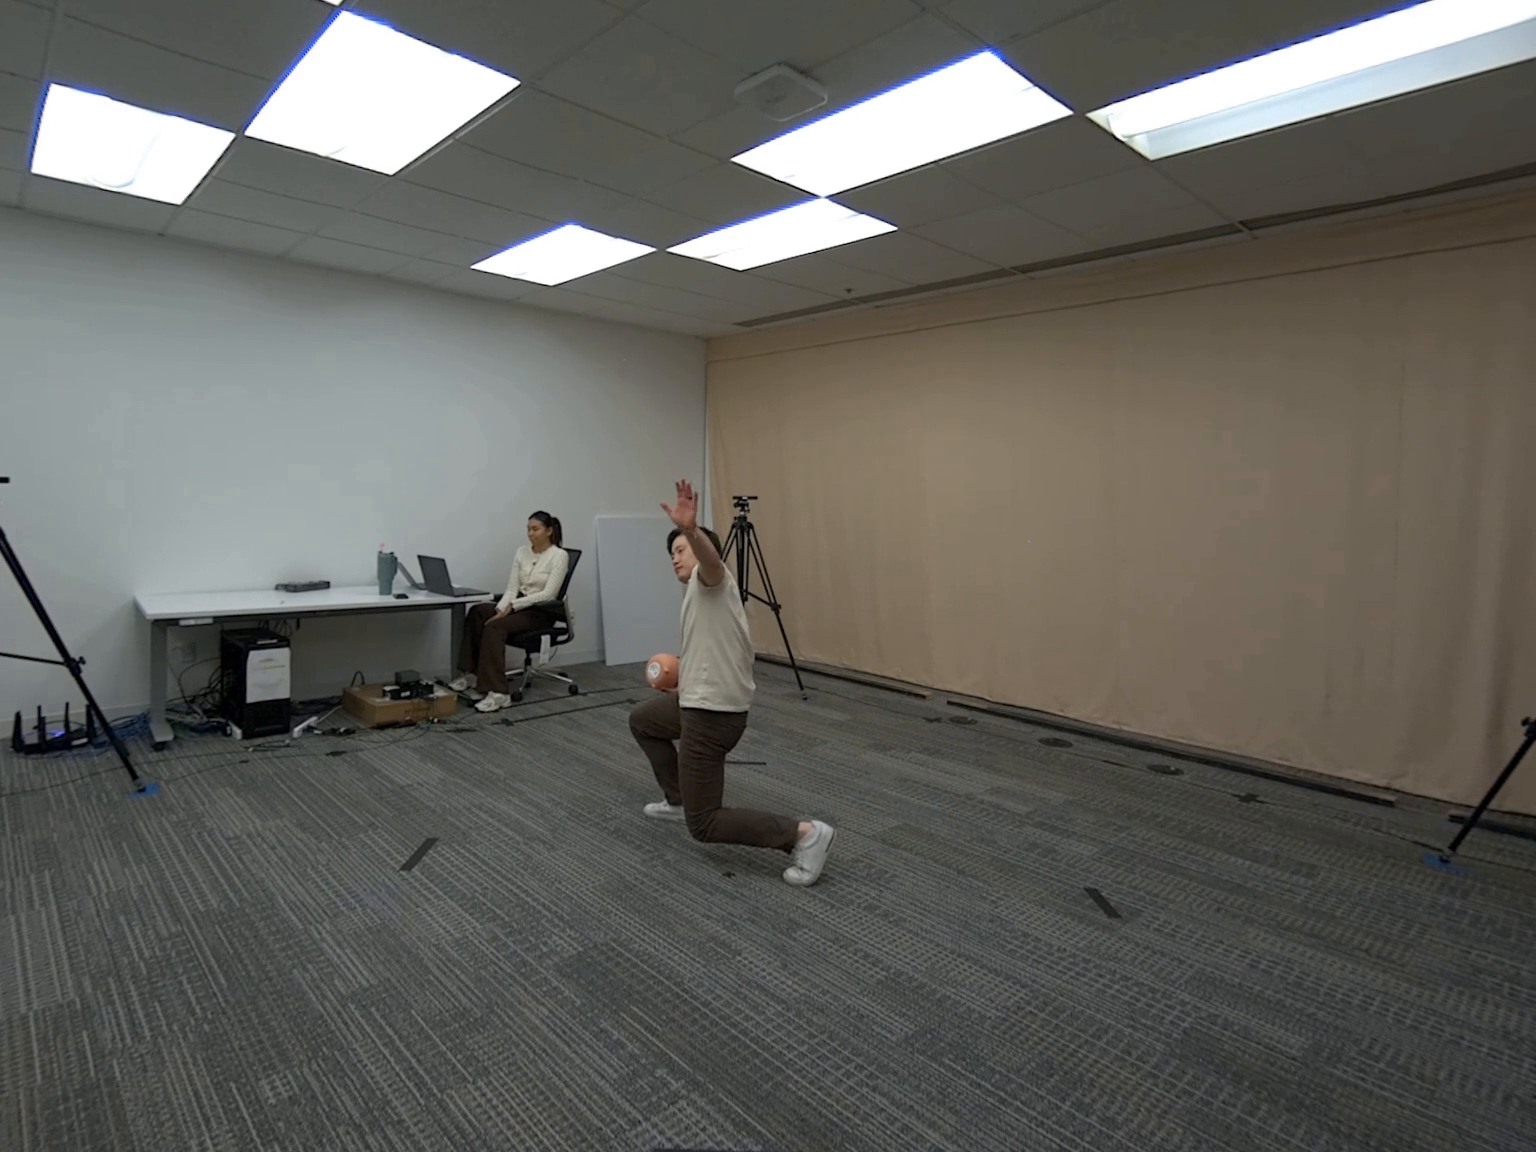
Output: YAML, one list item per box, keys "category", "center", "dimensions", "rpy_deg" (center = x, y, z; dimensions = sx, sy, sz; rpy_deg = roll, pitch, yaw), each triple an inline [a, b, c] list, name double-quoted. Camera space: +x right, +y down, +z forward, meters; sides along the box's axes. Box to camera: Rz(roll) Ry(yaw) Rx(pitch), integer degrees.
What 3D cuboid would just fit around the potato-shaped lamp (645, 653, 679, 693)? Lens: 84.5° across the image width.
- category: "potato-shaped lamp"
  center: [-0.483, 0.455, 3.971]
  dimensions: [0.192, 0.164, 0.177]
  rpy_deg: [21, 24, -50]
